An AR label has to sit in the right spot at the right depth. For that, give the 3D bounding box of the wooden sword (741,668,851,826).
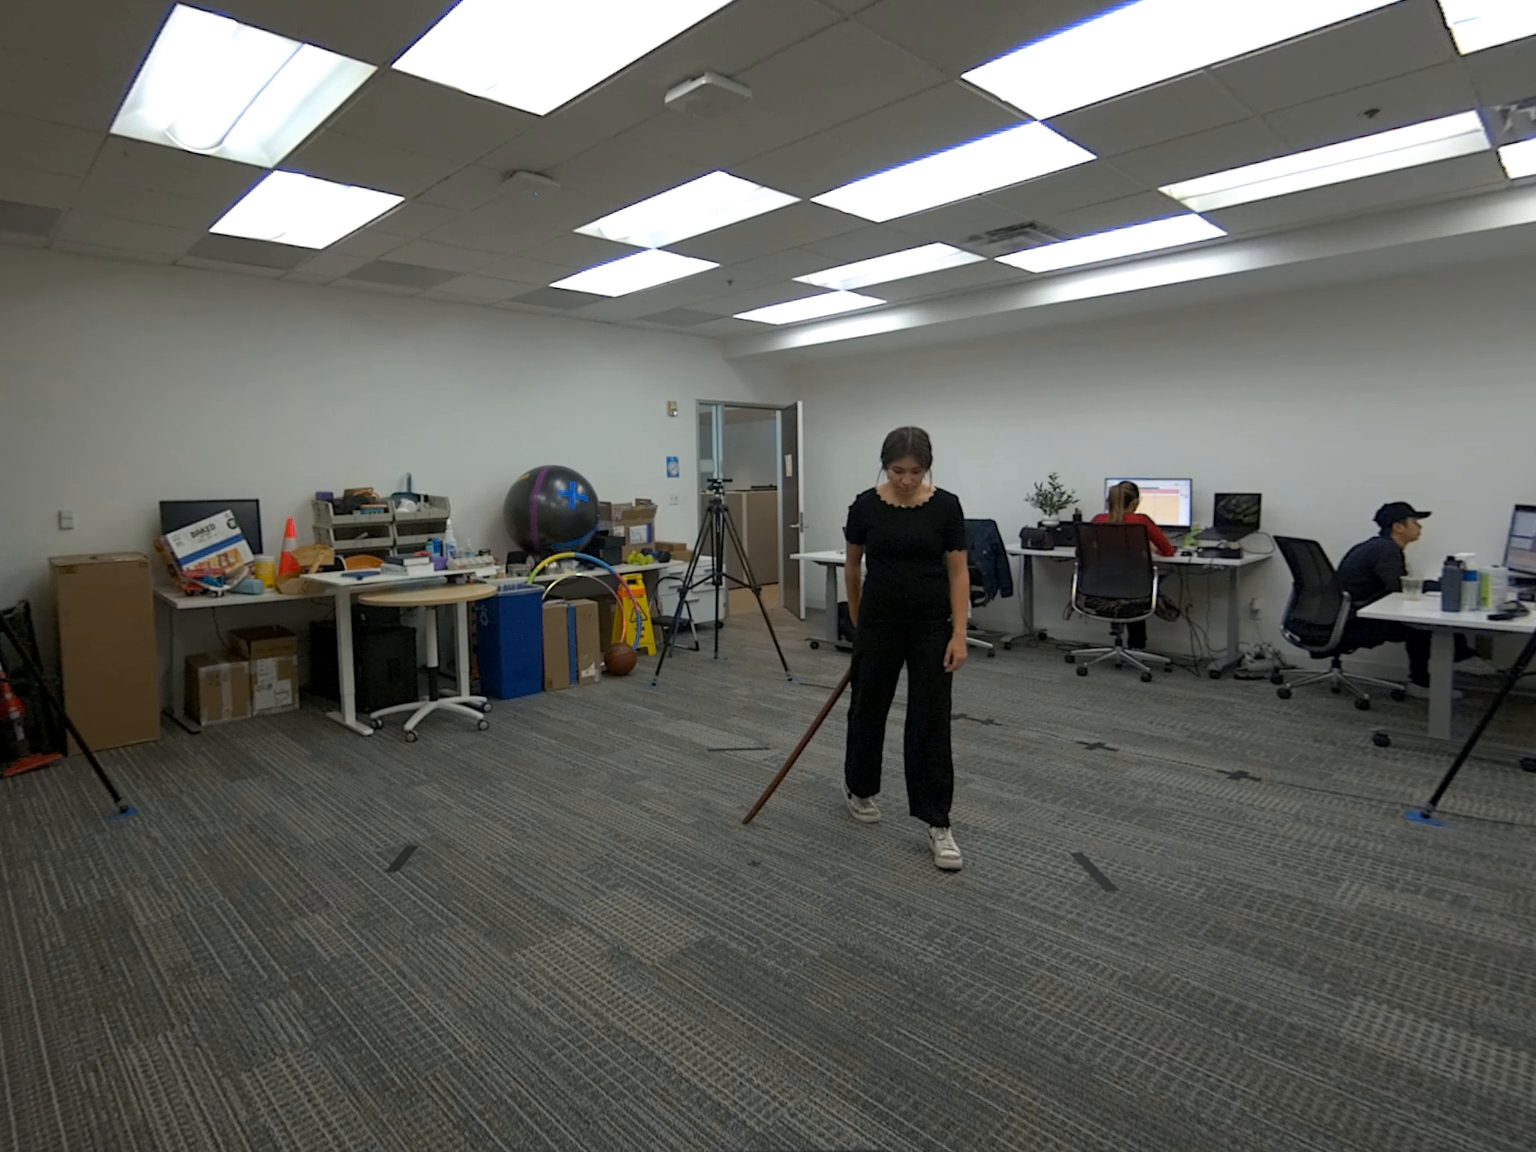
[{"bbox_3d":[0.194,0.597,3.473,0.023,1.025,0.053,36,-3,-30],"label":"wooden sword"}]
